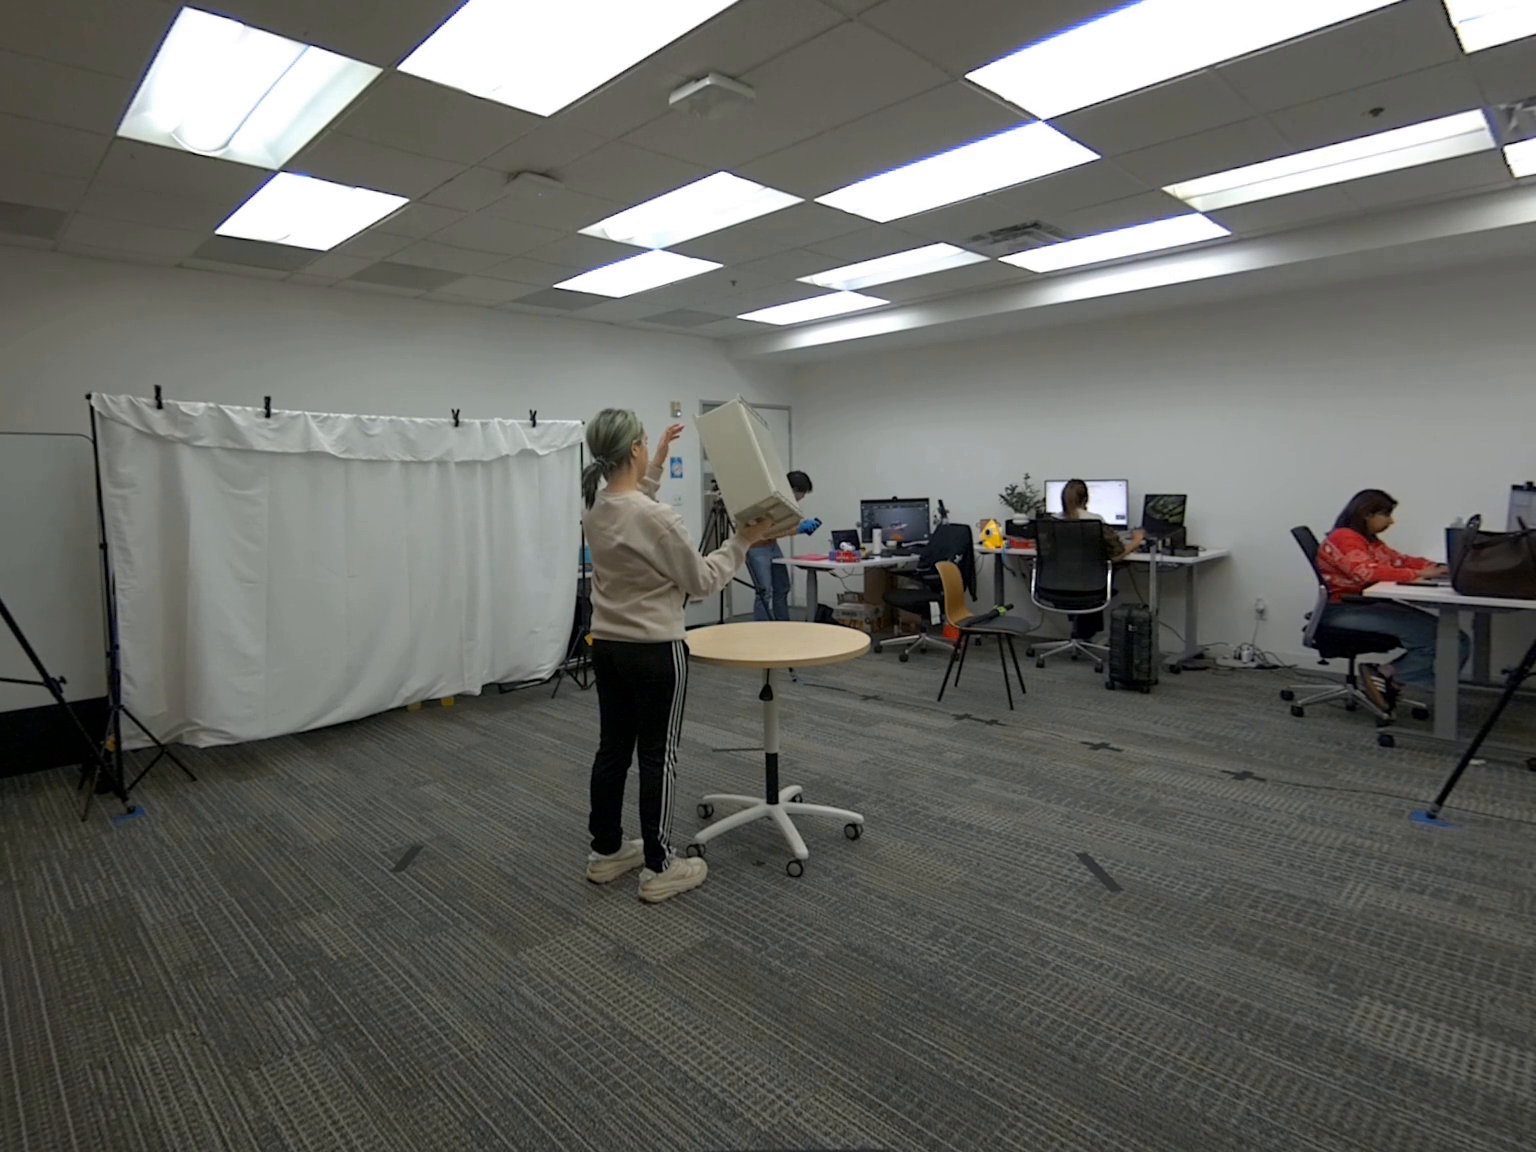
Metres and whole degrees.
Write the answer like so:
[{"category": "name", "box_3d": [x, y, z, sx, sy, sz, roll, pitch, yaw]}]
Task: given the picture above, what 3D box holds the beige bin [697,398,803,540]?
[{"category": "beige bin", "box_3d": [-0.065, -0.374, 3.057, 0.190, 0.432, 0.367, -24, -19, 12]}]
